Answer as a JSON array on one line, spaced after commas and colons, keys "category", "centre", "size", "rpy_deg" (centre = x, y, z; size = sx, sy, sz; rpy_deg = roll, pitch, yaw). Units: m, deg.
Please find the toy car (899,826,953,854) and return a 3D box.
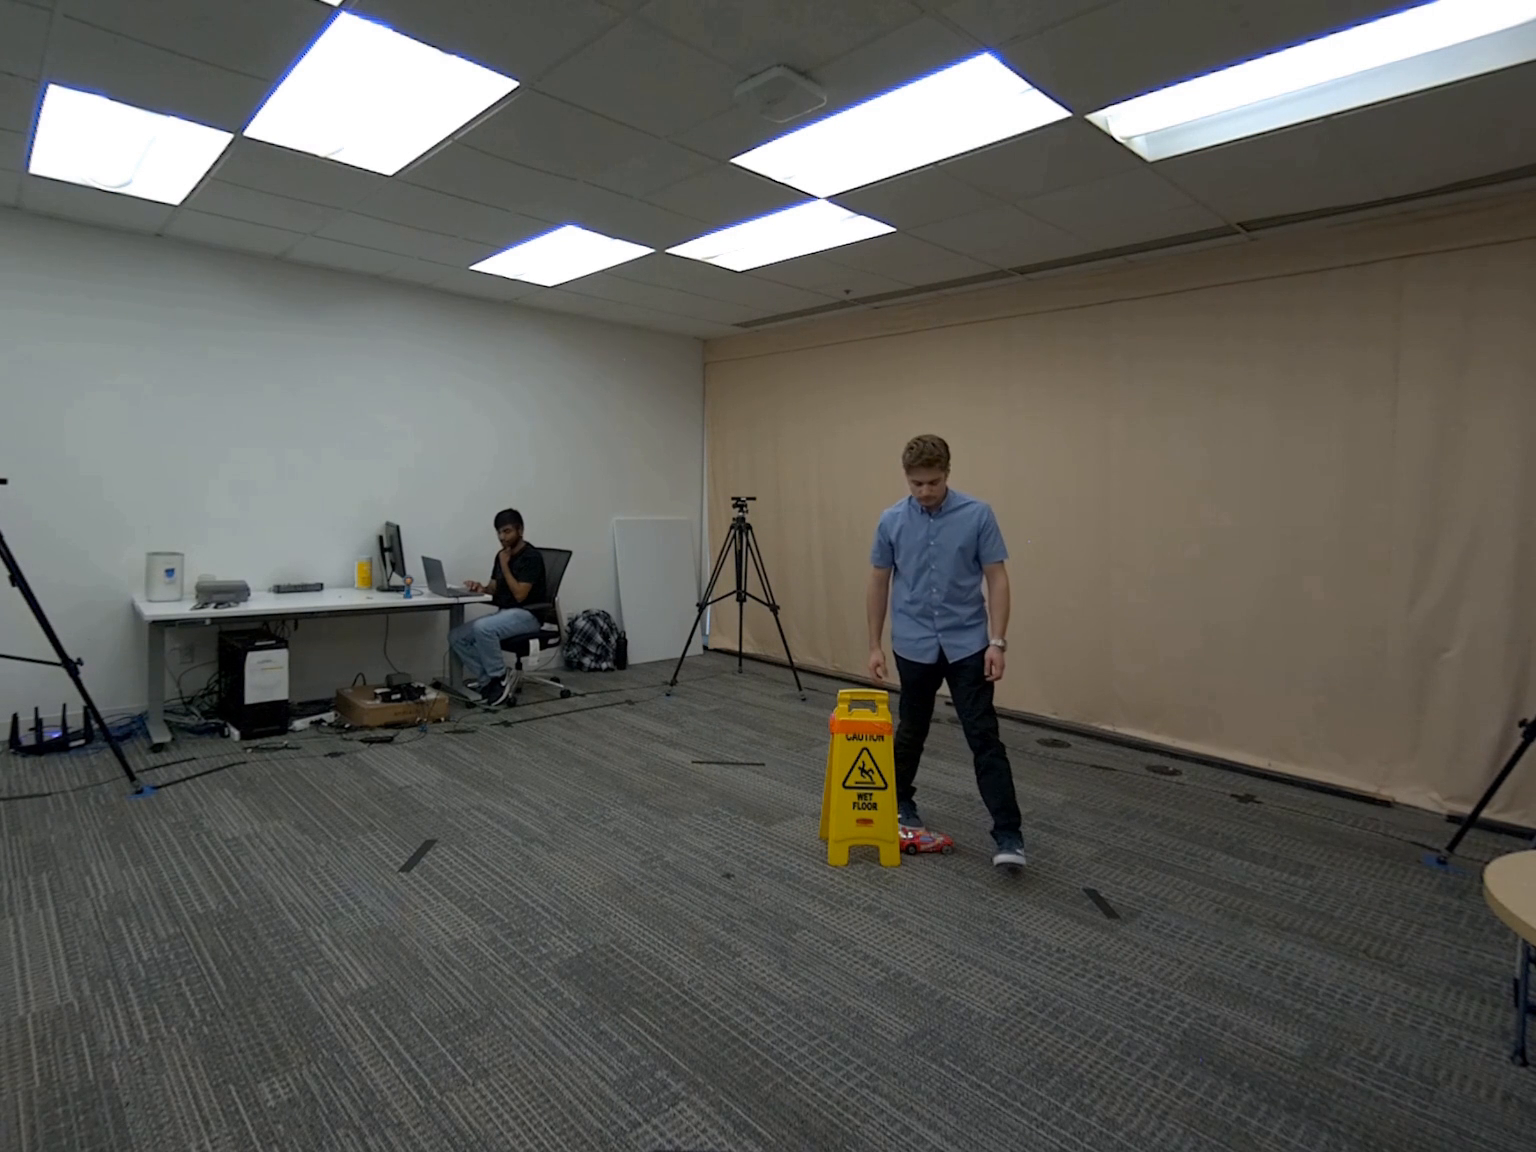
[{"category": "toy car", "centre": [0.601, 1.072, 3.383], "size": [0.253, 0.083, 0.131], "rpy_deg": [12, 3, -6]}]
